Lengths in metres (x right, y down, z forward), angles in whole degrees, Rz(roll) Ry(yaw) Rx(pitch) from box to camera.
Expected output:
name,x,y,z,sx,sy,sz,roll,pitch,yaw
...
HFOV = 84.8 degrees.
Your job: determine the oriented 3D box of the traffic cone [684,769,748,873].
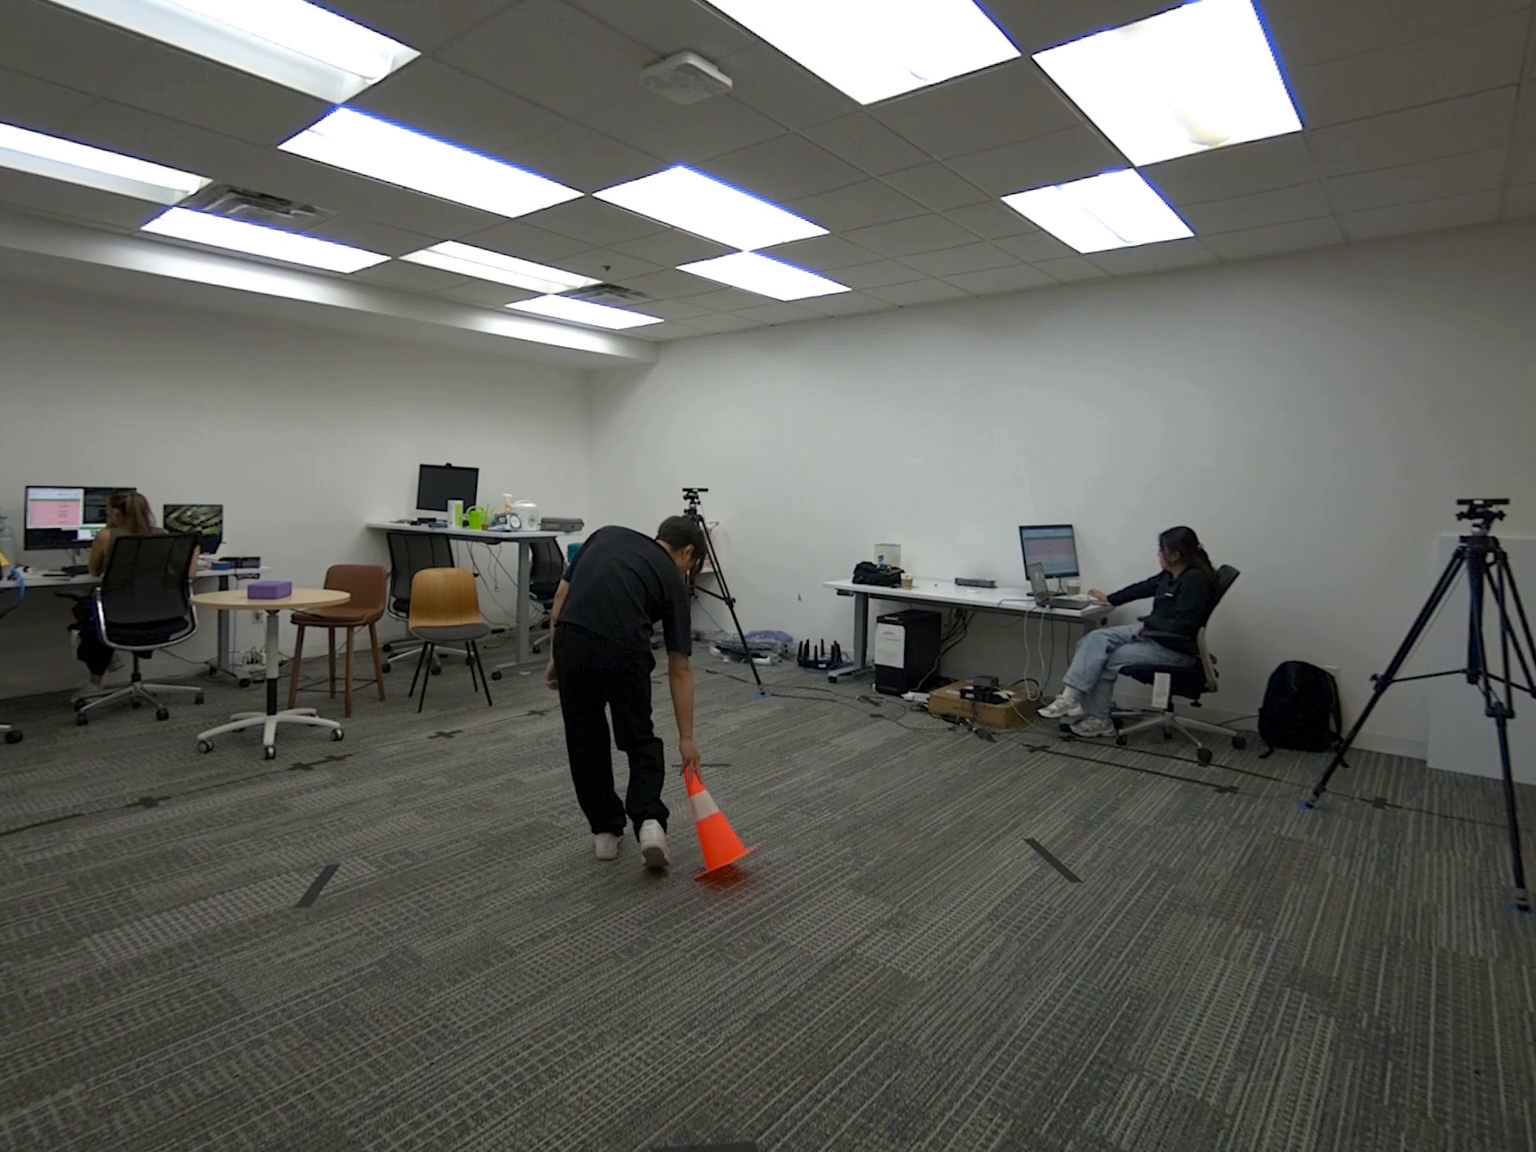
name,x,y,z,sx,sy,sz,roll,pitch,yaw
traffic cone,-0.238,0.864,3.102,0.207,0.390,0.198,-32,-14,29
